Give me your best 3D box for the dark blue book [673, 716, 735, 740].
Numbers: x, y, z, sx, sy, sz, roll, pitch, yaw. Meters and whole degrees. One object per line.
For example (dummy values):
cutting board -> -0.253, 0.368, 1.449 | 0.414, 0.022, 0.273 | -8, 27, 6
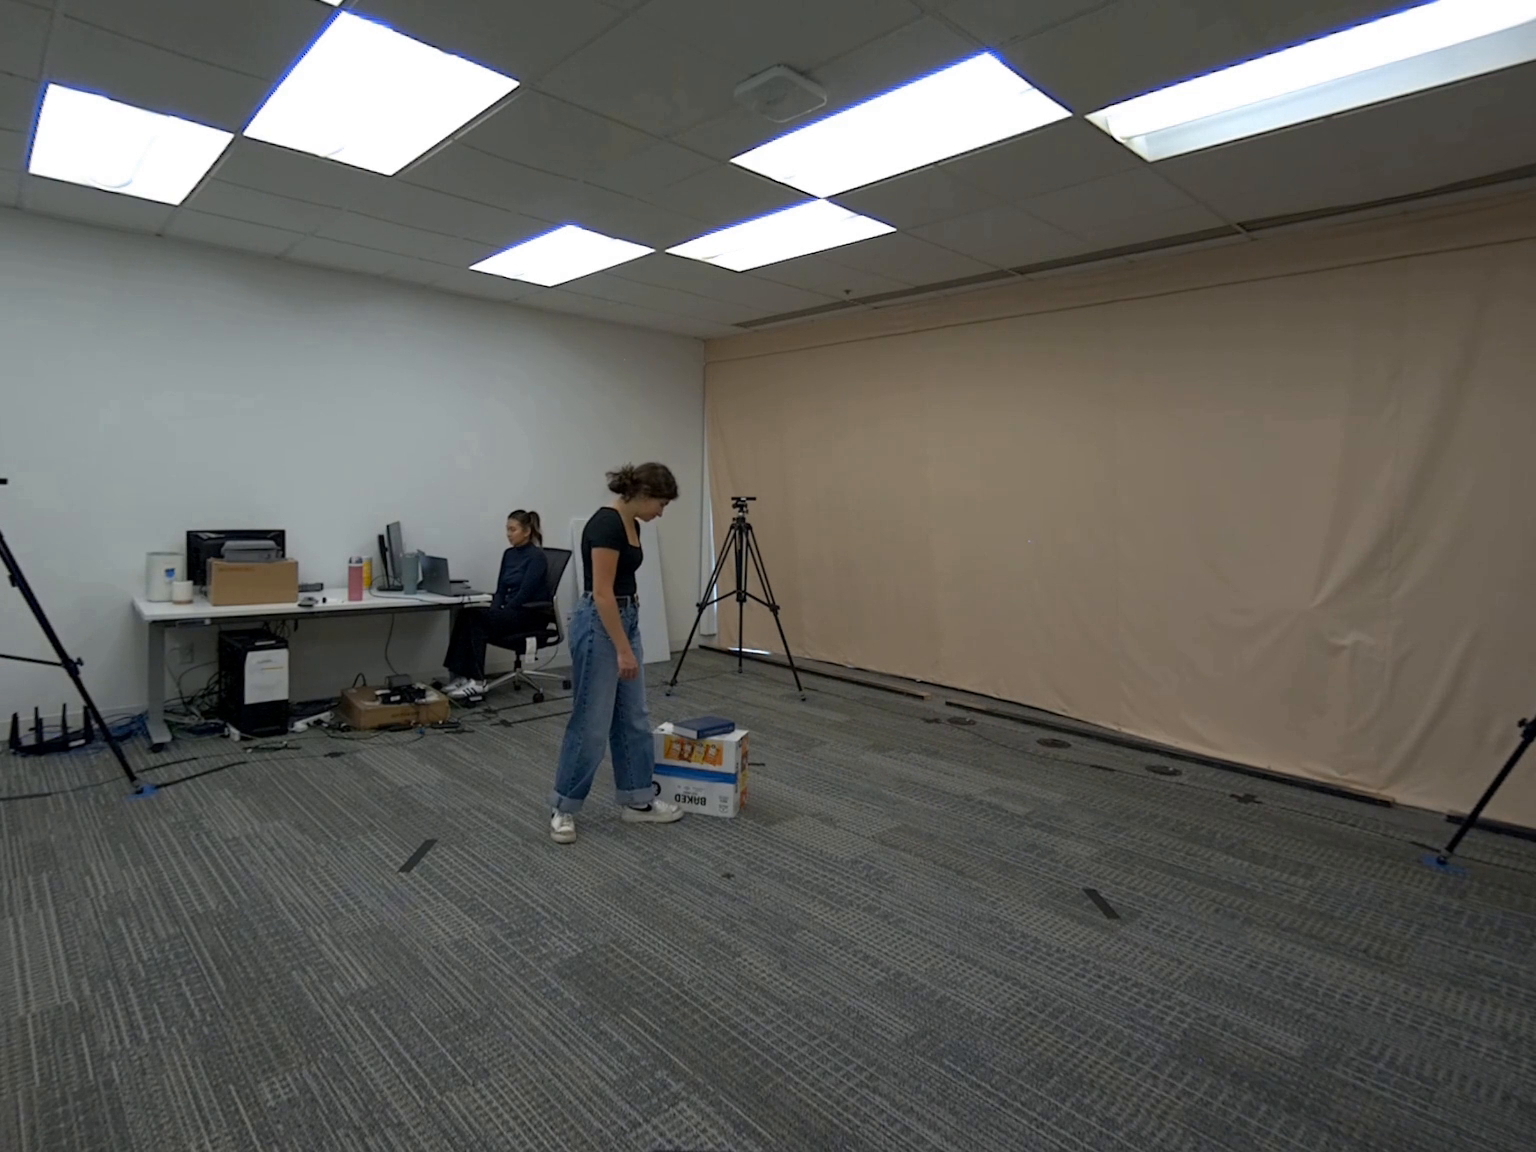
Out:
dark blue book -> -0.297, 0.681, 3.796 | 0.167, 0.045, 0.239 | 4, 5, 41
